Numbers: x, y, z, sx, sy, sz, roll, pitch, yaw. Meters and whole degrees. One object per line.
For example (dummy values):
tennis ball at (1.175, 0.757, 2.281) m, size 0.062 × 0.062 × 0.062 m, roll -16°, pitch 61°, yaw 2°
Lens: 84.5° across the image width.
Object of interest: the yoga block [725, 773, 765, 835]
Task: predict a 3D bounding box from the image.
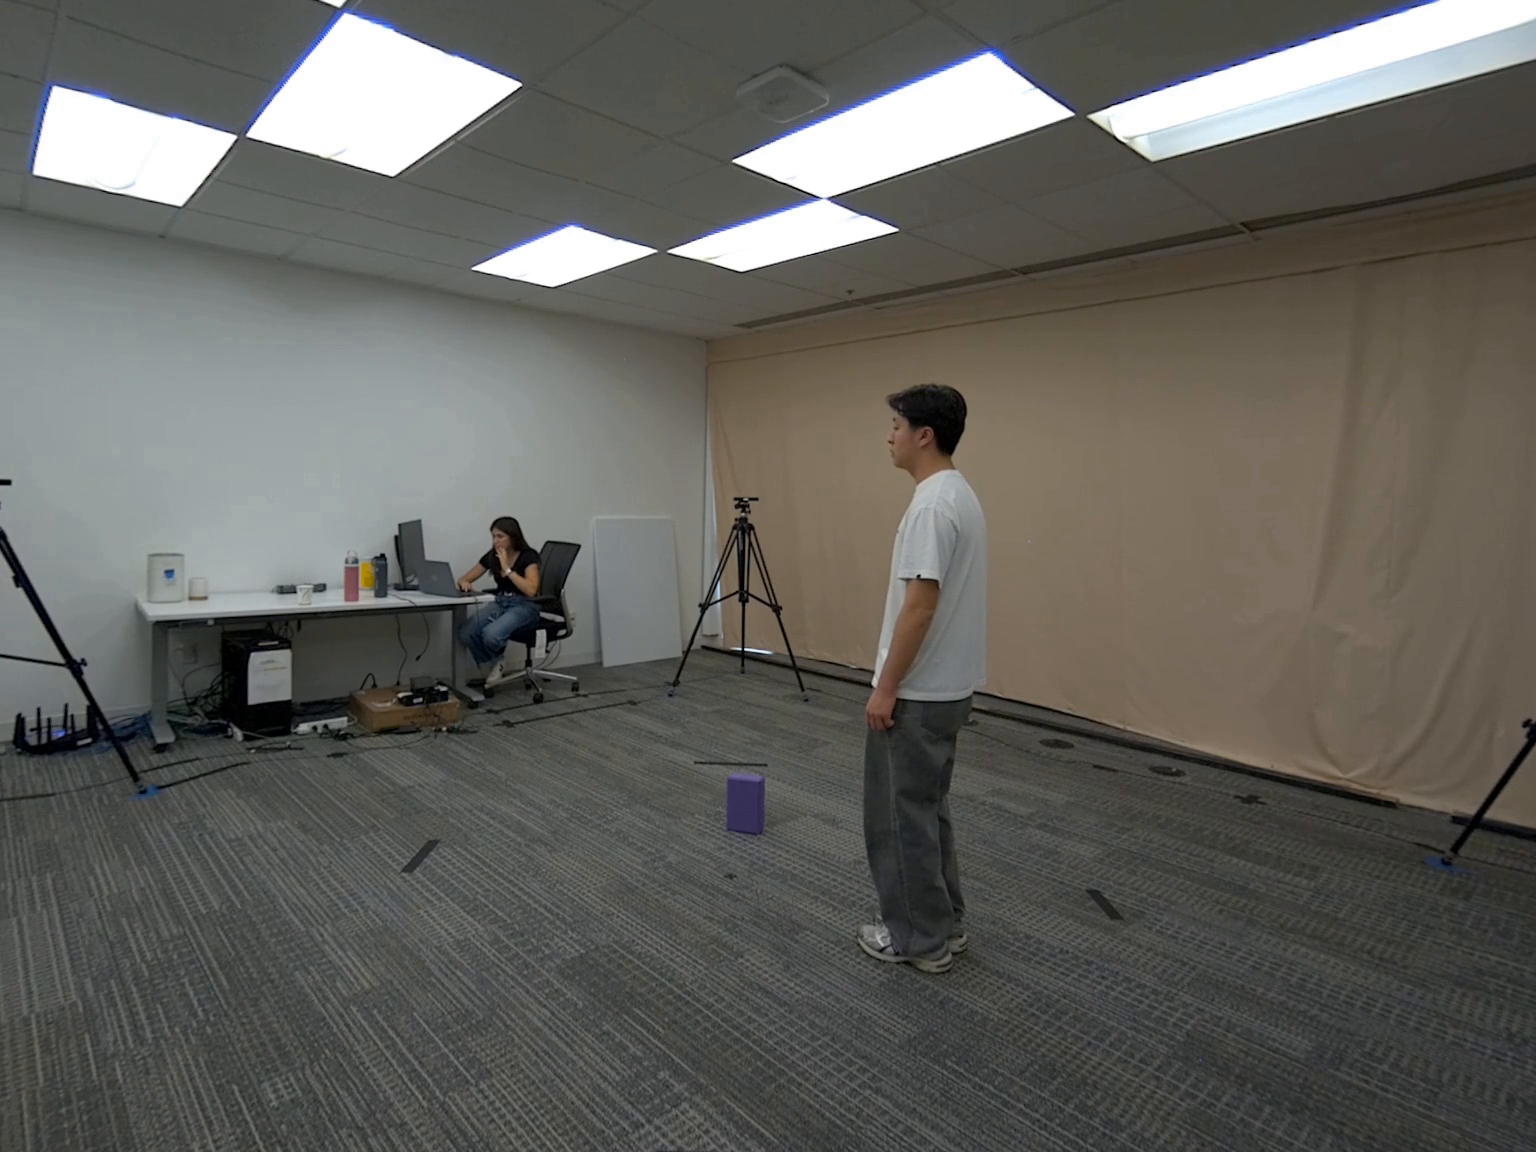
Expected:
yoga block at (-0.105, 0.959, 3.540) m, size 0.151 × 0.229 × 0.075 m, roll 2°, pitch 3°, yaw 18°
